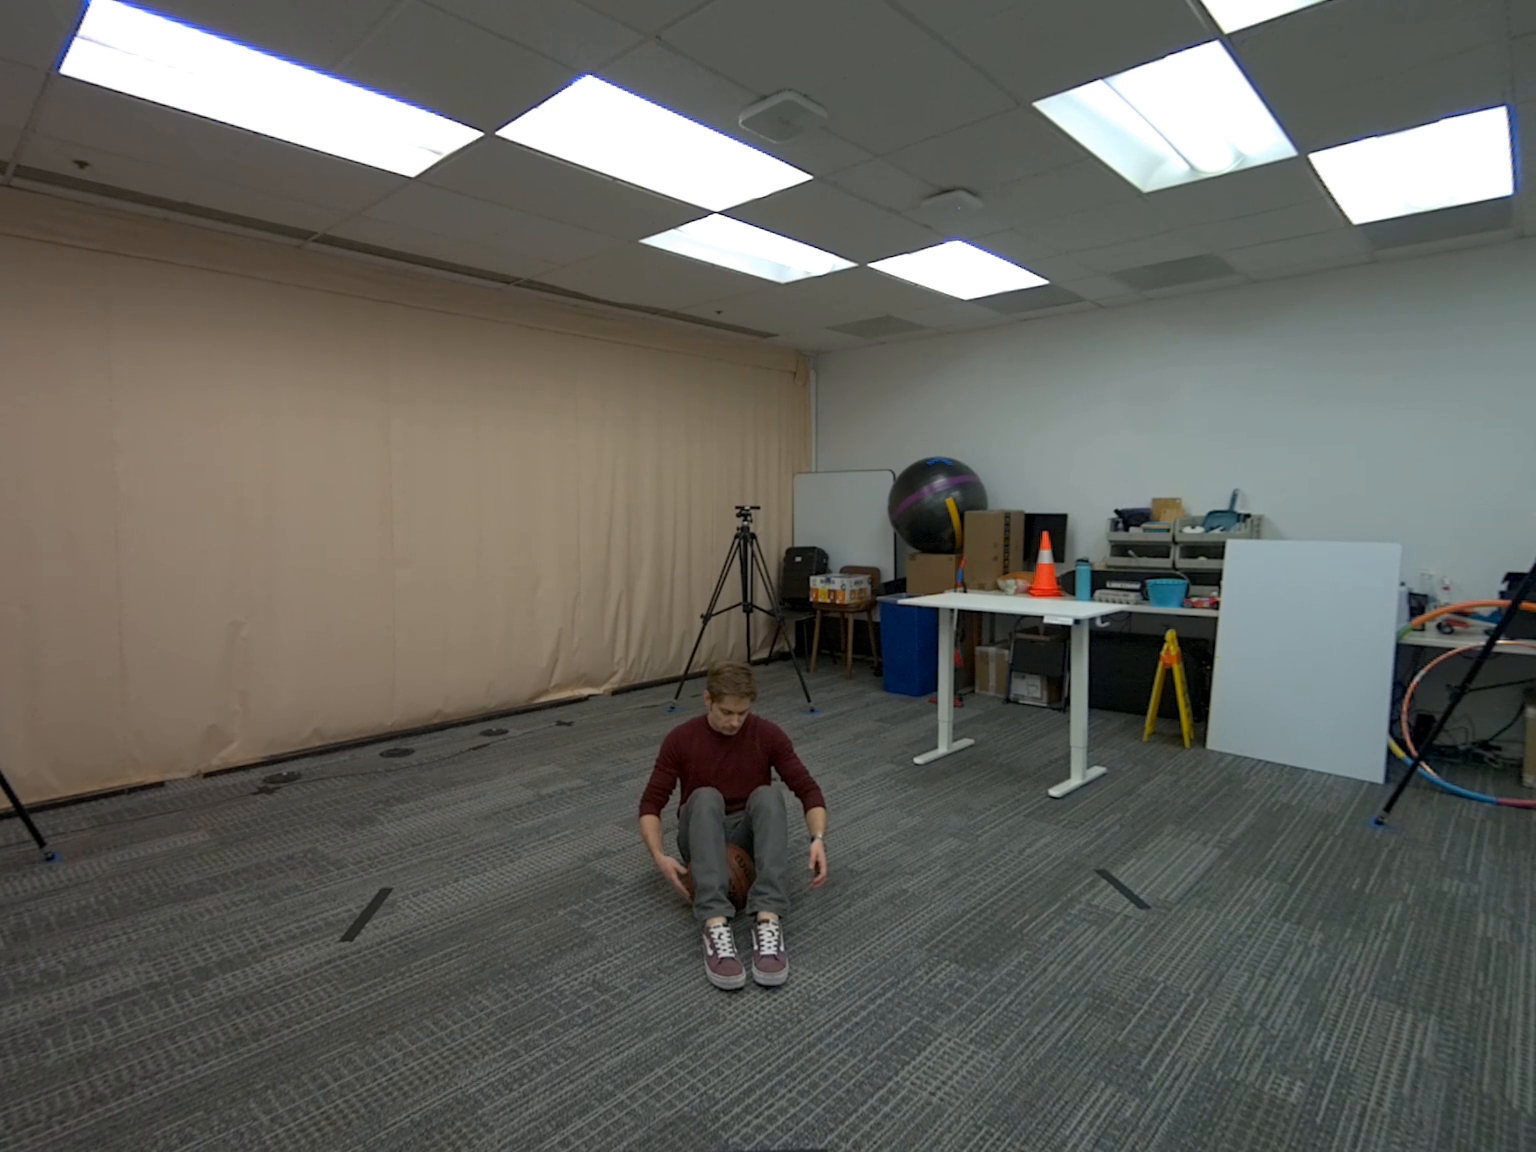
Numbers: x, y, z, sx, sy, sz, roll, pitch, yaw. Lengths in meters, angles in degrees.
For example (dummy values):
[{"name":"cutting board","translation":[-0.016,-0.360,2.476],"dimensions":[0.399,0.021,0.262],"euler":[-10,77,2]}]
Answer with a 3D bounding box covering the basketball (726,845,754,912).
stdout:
[{"name":"basketball","translation":[-0.143,1.033,2.891],"dimensions":[0.236,0.235,0.237],"euler":[0,4,-2]}]
